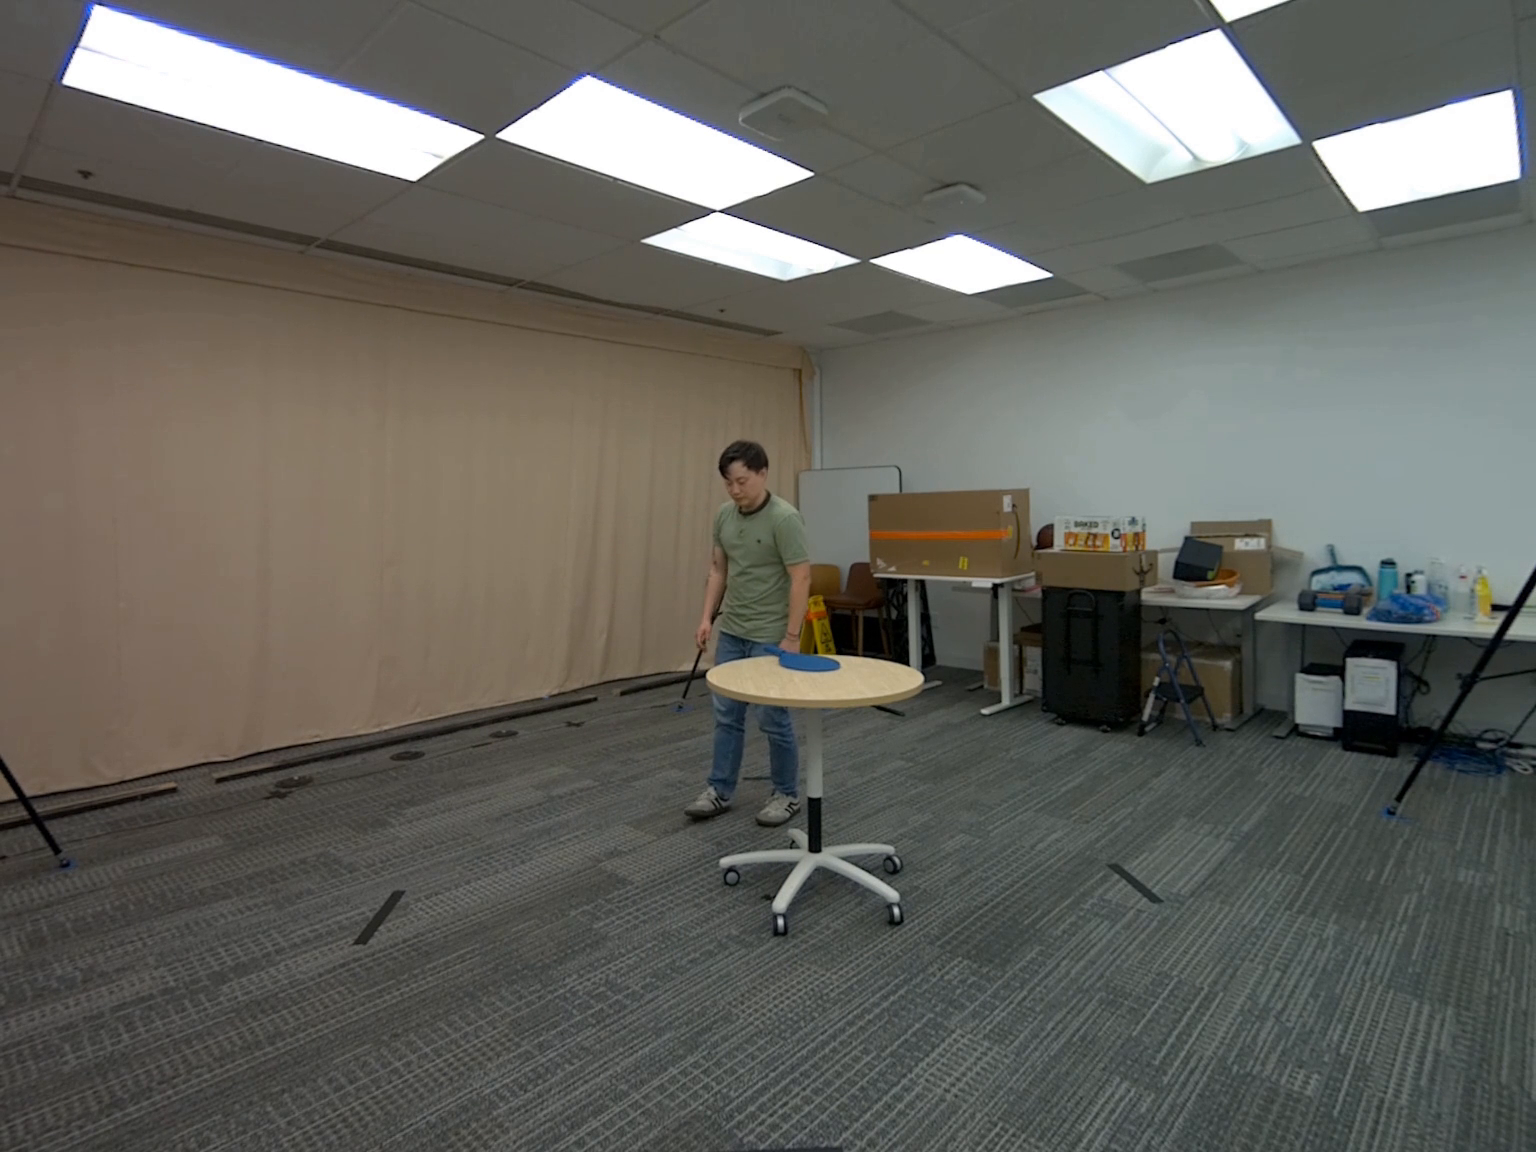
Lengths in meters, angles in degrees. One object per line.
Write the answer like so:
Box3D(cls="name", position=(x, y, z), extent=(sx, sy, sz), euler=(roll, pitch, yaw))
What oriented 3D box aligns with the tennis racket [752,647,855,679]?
Box3D(cls="tennis racket", position=(0.111, 0.319, 3.239), extent=(0.208, 0.031, 0.446), euler=(-2, 7, -30))
